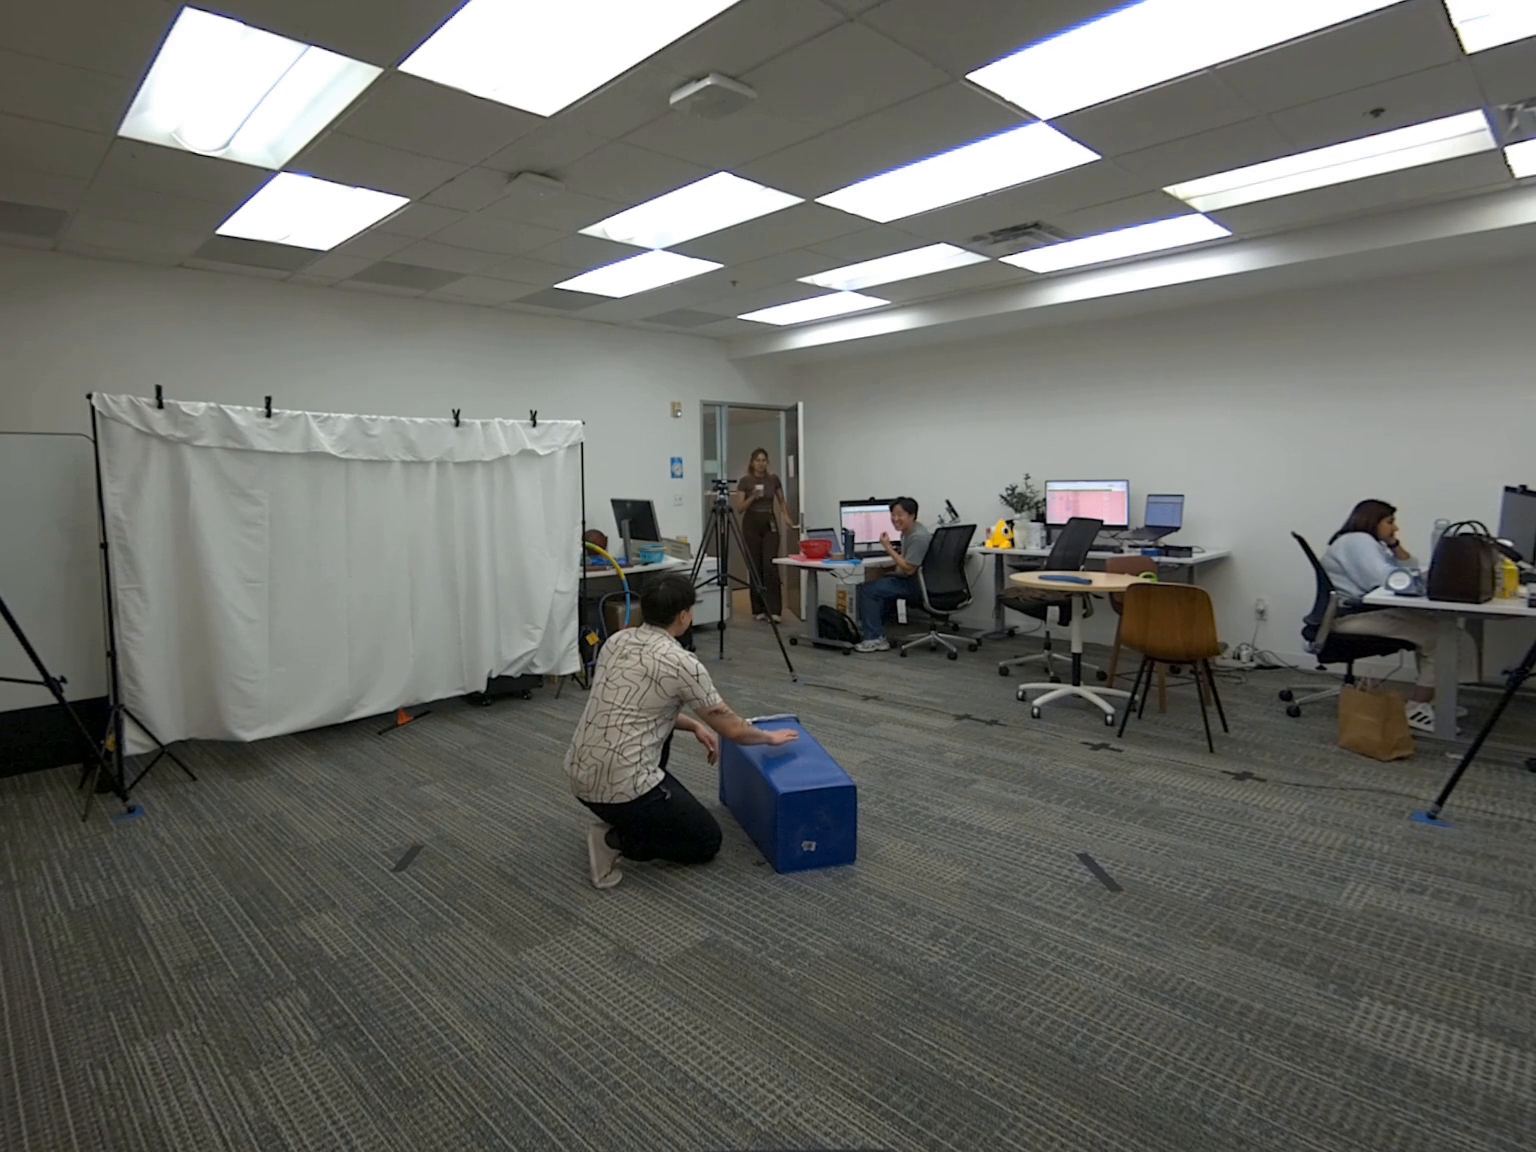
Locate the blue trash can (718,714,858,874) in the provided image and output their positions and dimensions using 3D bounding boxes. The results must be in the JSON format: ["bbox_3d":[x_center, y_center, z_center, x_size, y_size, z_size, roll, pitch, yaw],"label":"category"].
[{"bbox_3d":[0.062,0.846,3.380,0.373,0.371,0.729,-3,9,-16],"label":"blue trash can"}]
